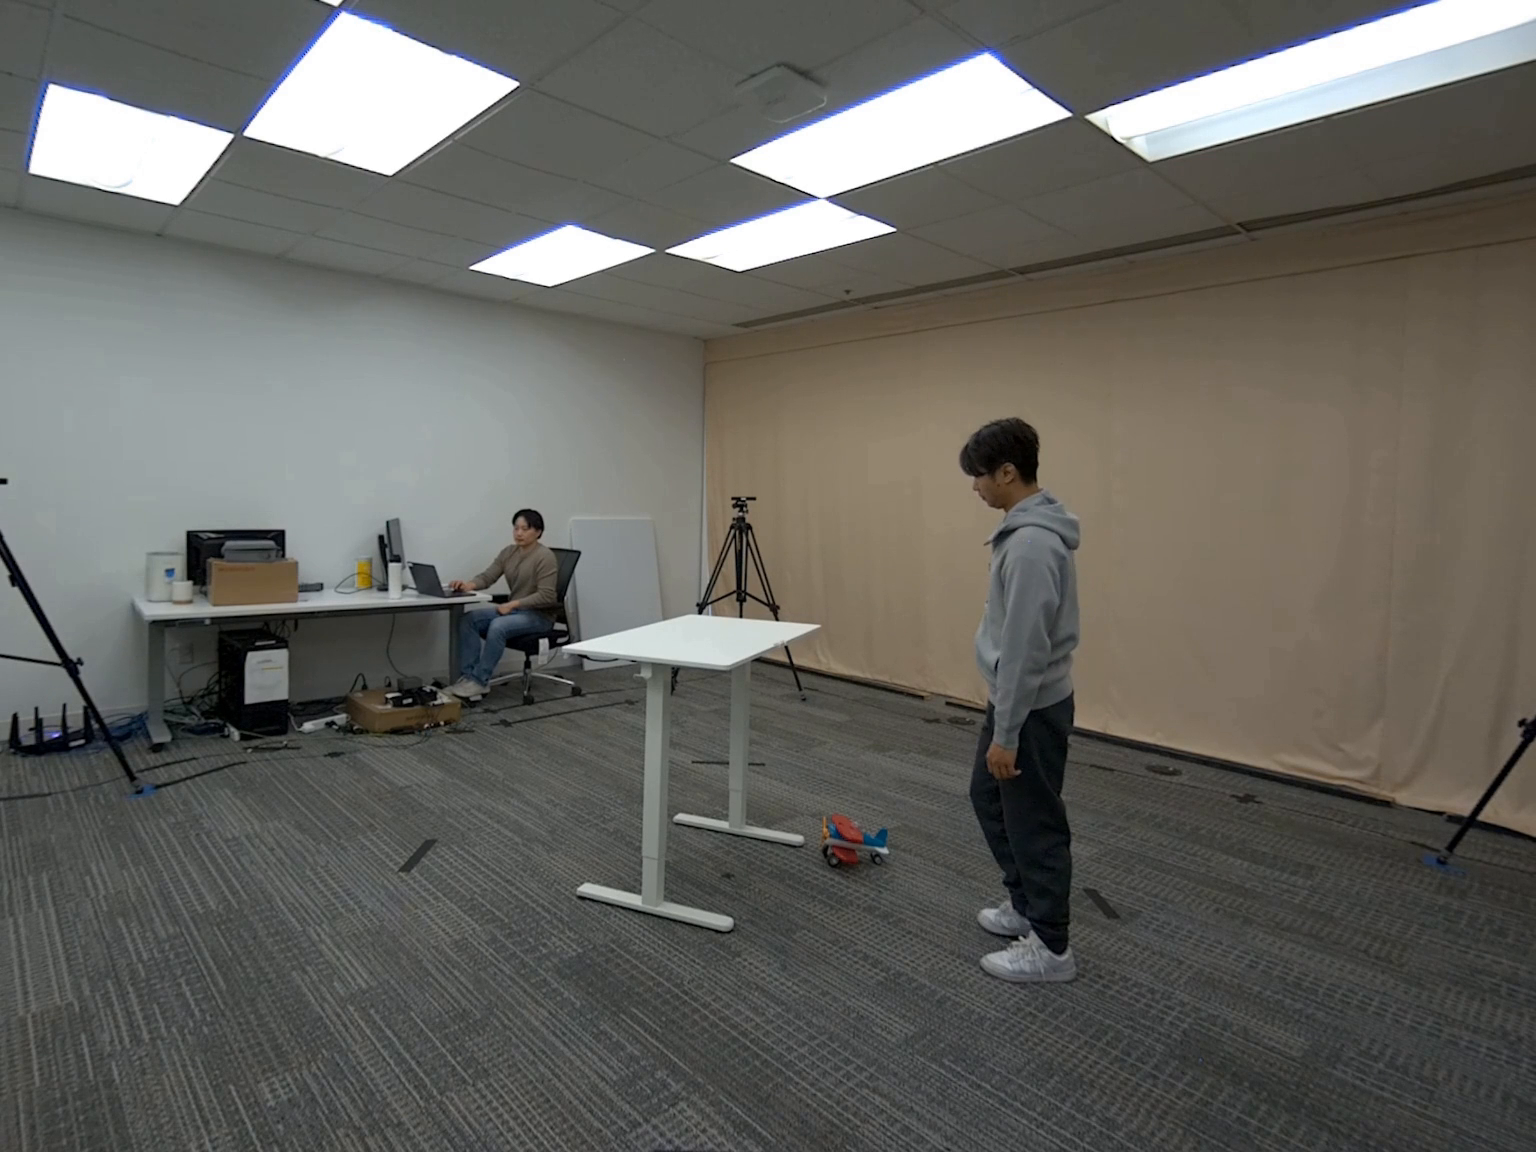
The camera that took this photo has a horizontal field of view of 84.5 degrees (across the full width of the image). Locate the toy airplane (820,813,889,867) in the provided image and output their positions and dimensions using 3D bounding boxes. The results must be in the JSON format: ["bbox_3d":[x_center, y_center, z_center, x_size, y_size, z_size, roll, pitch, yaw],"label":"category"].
[{"bbox_3d":[0.318,1.027,3.264,0.253,0.156,0.257,-2,5,-35],"label":"toy airplane"}]
